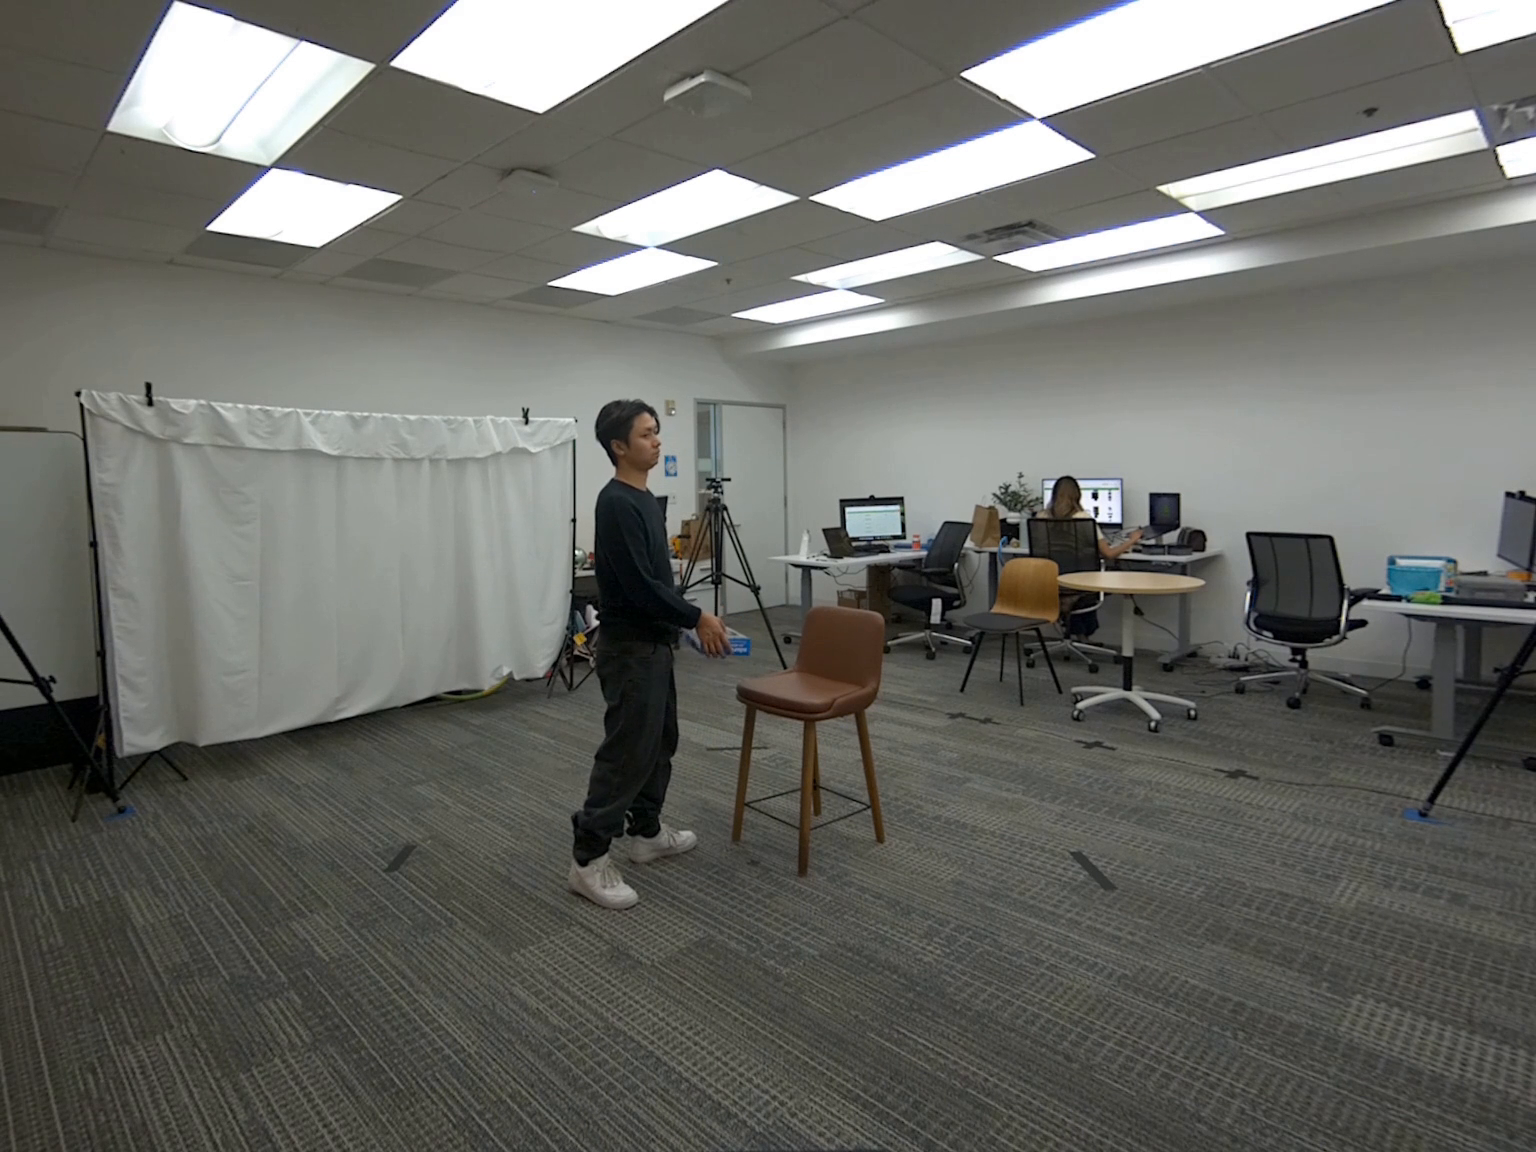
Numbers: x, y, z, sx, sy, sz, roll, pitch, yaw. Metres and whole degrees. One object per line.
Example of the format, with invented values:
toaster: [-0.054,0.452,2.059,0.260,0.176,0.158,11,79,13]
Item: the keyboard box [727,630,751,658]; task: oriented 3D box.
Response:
keyboard box: [-0.200,0.233,3.128,0.174,0.059,0.443,2,2,-14]
